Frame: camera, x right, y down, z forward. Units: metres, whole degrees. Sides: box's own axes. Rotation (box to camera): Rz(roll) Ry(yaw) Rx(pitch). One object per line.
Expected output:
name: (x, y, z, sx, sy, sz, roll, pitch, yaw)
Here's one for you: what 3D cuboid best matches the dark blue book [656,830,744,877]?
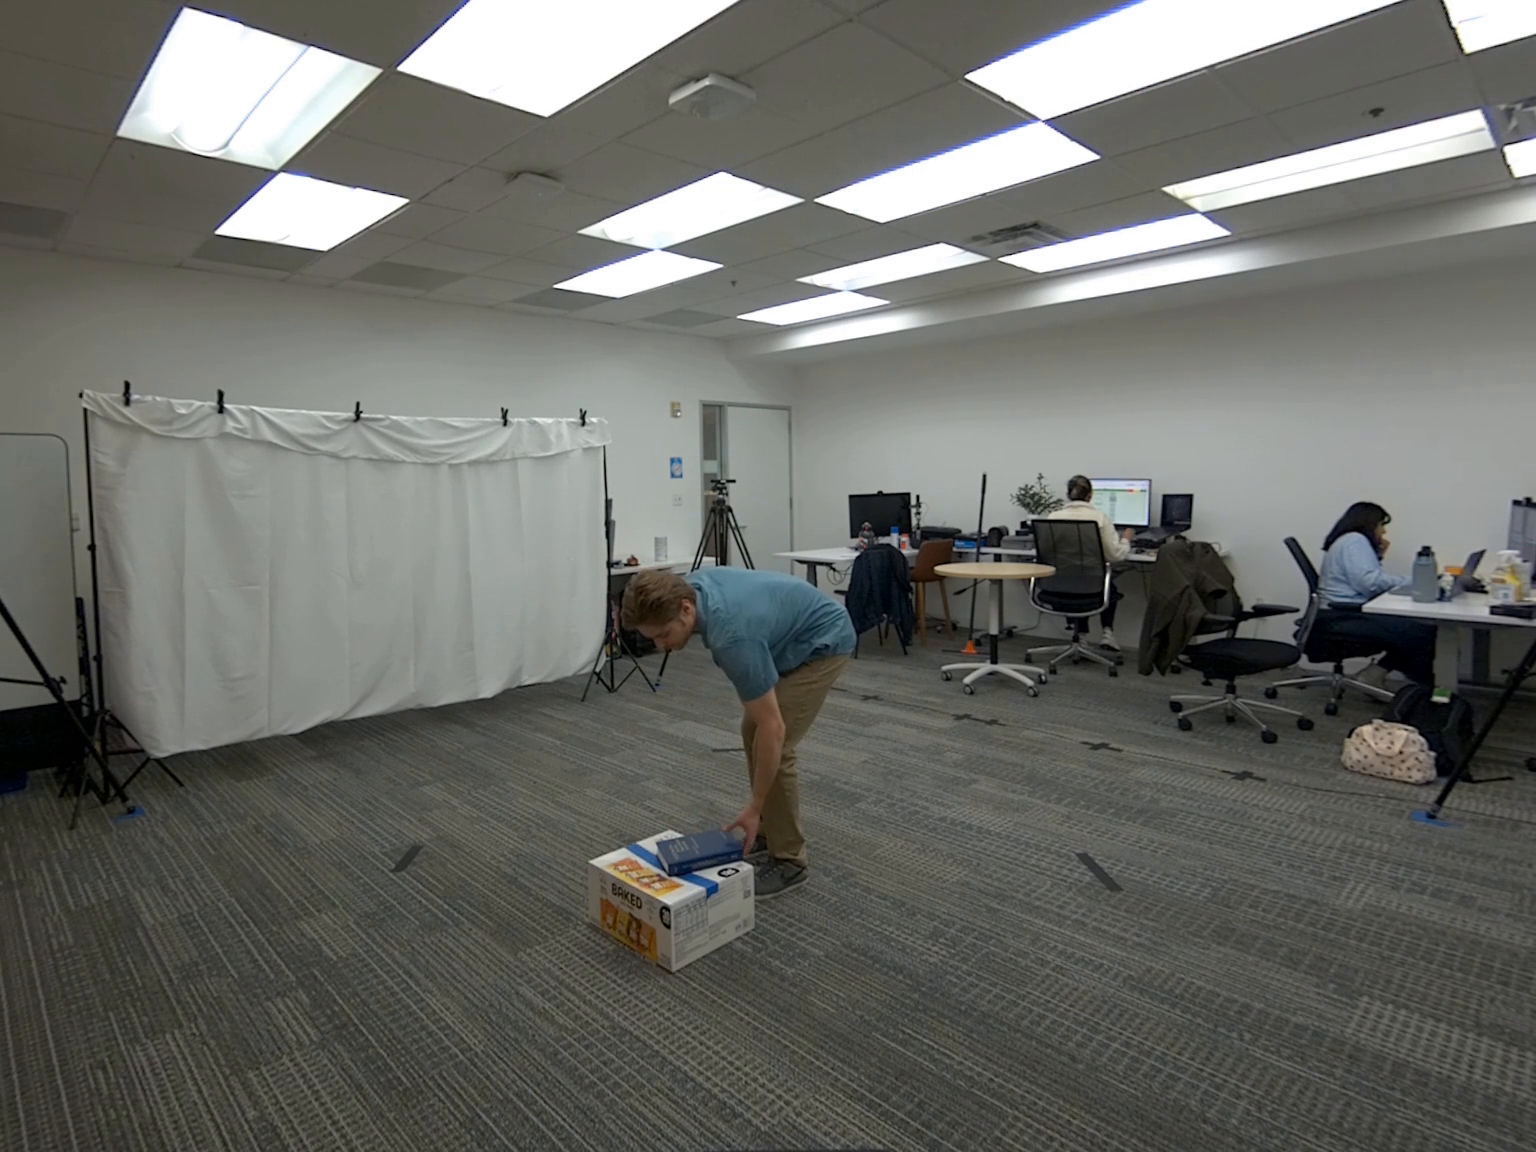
dark blue book: (-0.220, 0.880, 2.708, 0.241, 0.045, 0.167, -7, 9, -19)
